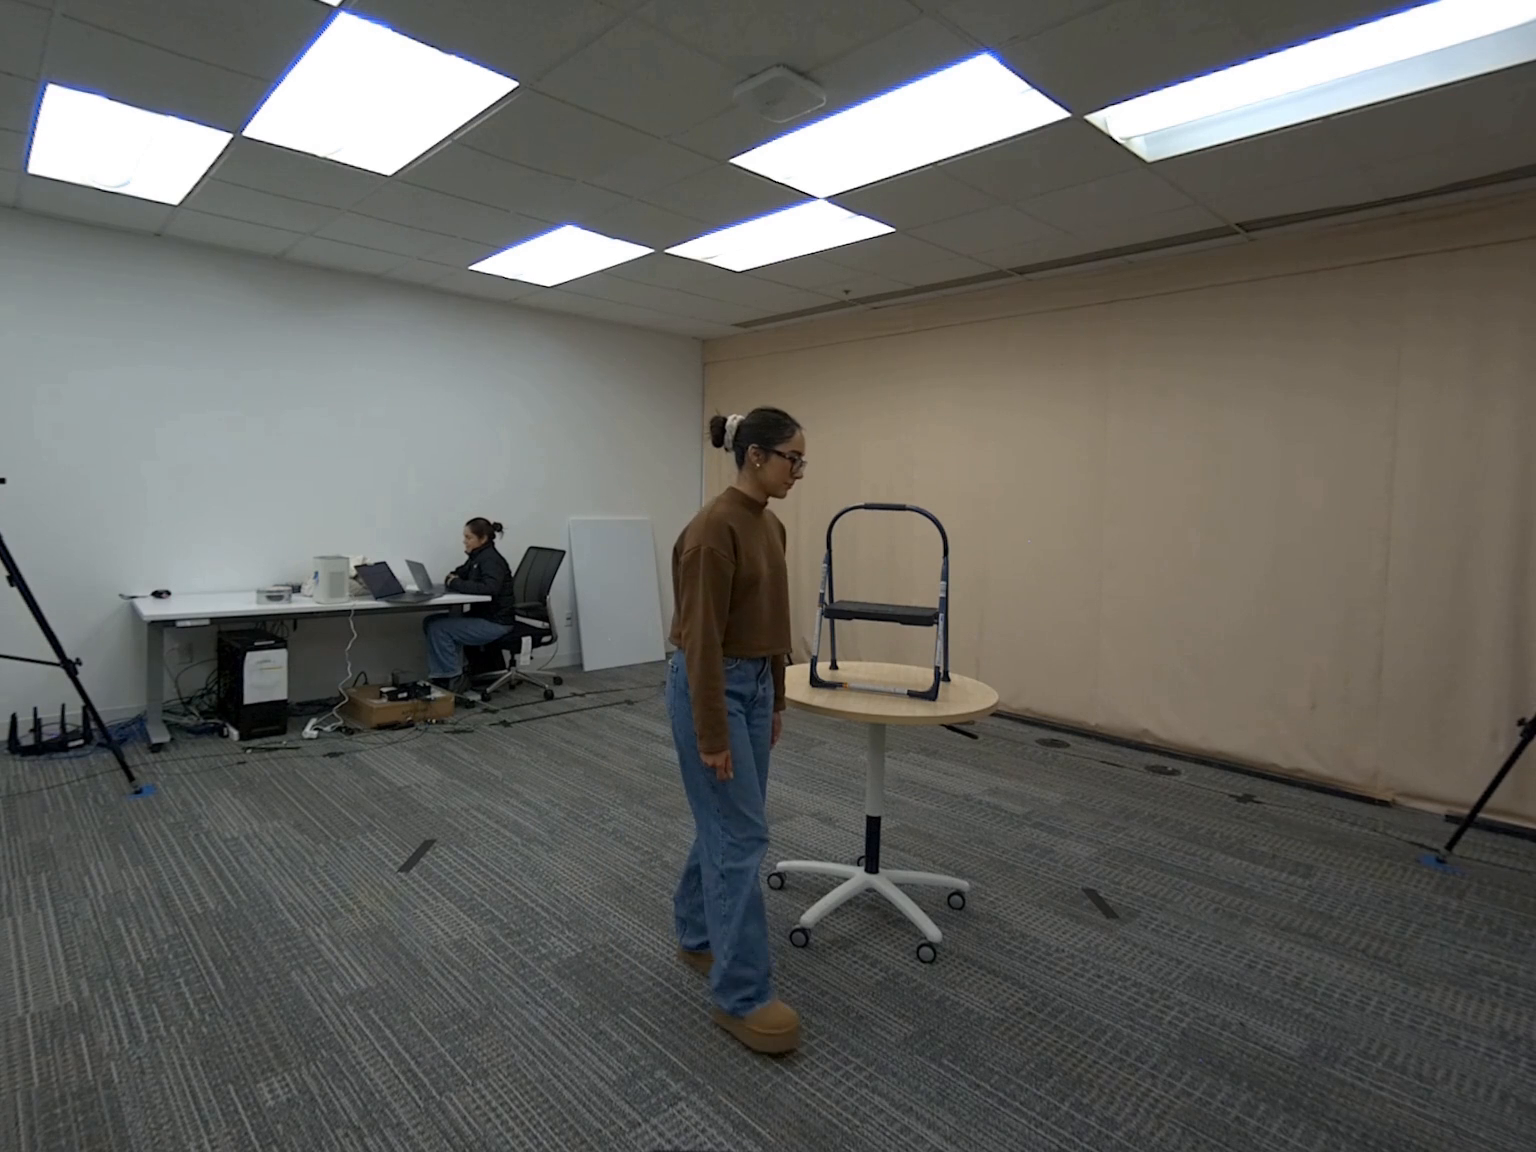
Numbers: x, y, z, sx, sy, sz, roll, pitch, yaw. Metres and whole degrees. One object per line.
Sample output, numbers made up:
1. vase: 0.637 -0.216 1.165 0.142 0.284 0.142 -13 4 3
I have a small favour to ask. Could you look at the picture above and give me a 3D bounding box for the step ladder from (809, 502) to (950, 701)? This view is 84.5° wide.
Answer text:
1. step ladder: 0.390 0.064 2.817 0.437 0.605 0.344 3 3 19
